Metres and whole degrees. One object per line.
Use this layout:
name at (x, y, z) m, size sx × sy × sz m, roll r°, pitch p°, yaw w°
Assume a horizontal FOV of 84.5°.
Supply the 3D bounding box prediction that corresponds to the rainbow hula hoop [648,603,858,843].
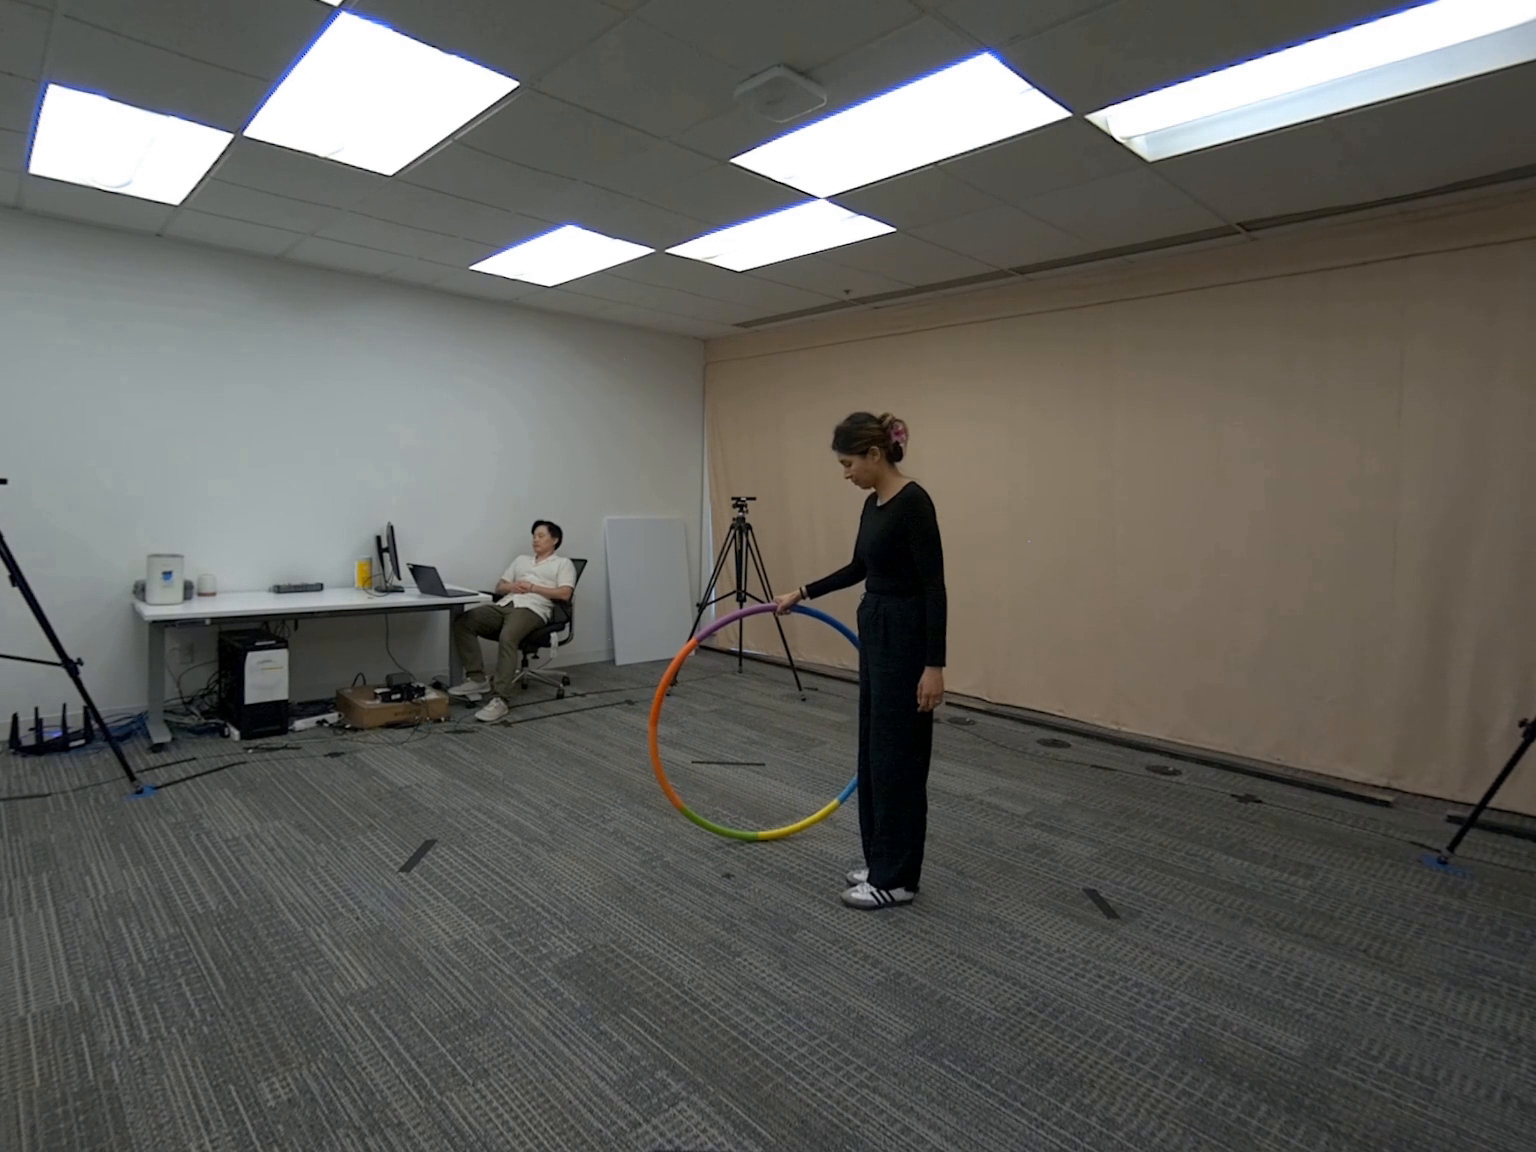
rainbow hula hoop at (0.011, 0.589, 3.349) m, size 0.966 × 0.972 × 0.036 m, roll 0°, pitch 10°, yaw -16°
